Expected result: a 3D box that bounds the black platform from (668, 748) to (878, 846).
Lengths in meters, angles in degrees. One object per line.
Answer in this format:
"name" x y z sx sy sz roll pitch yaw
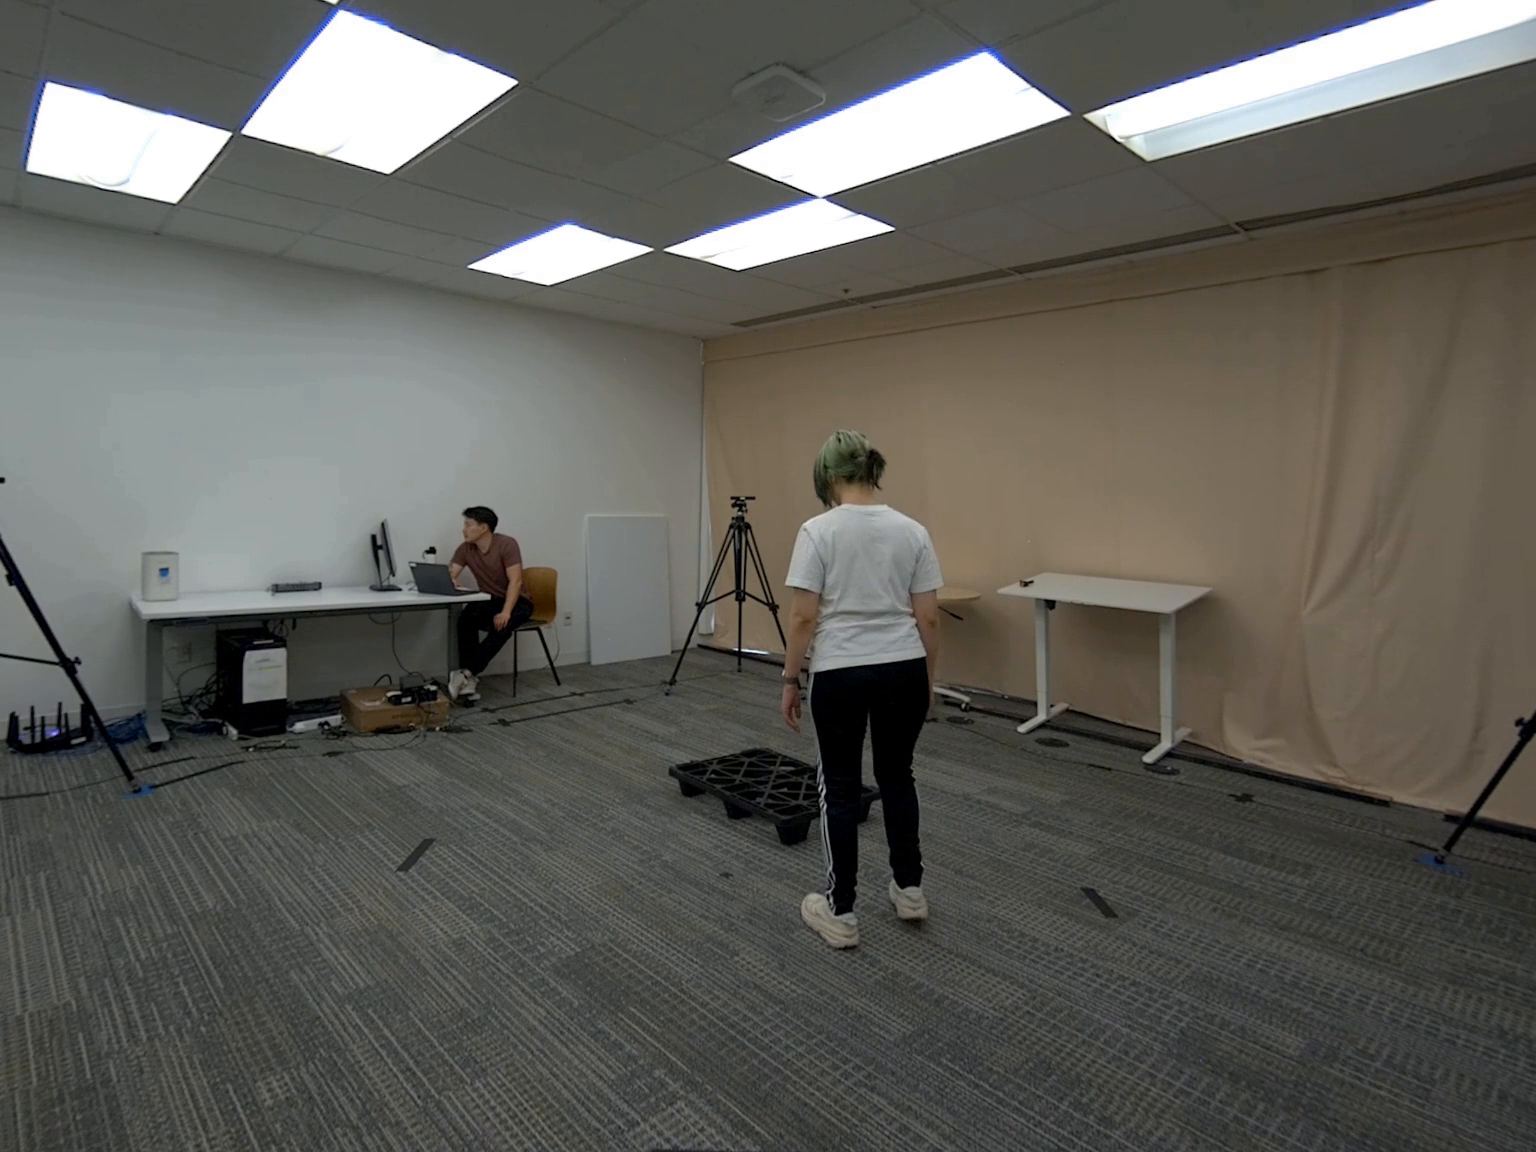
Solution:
"black platform" 0.004 0.982 3.804 0.591 0.143 0.826 -3 7 -40
